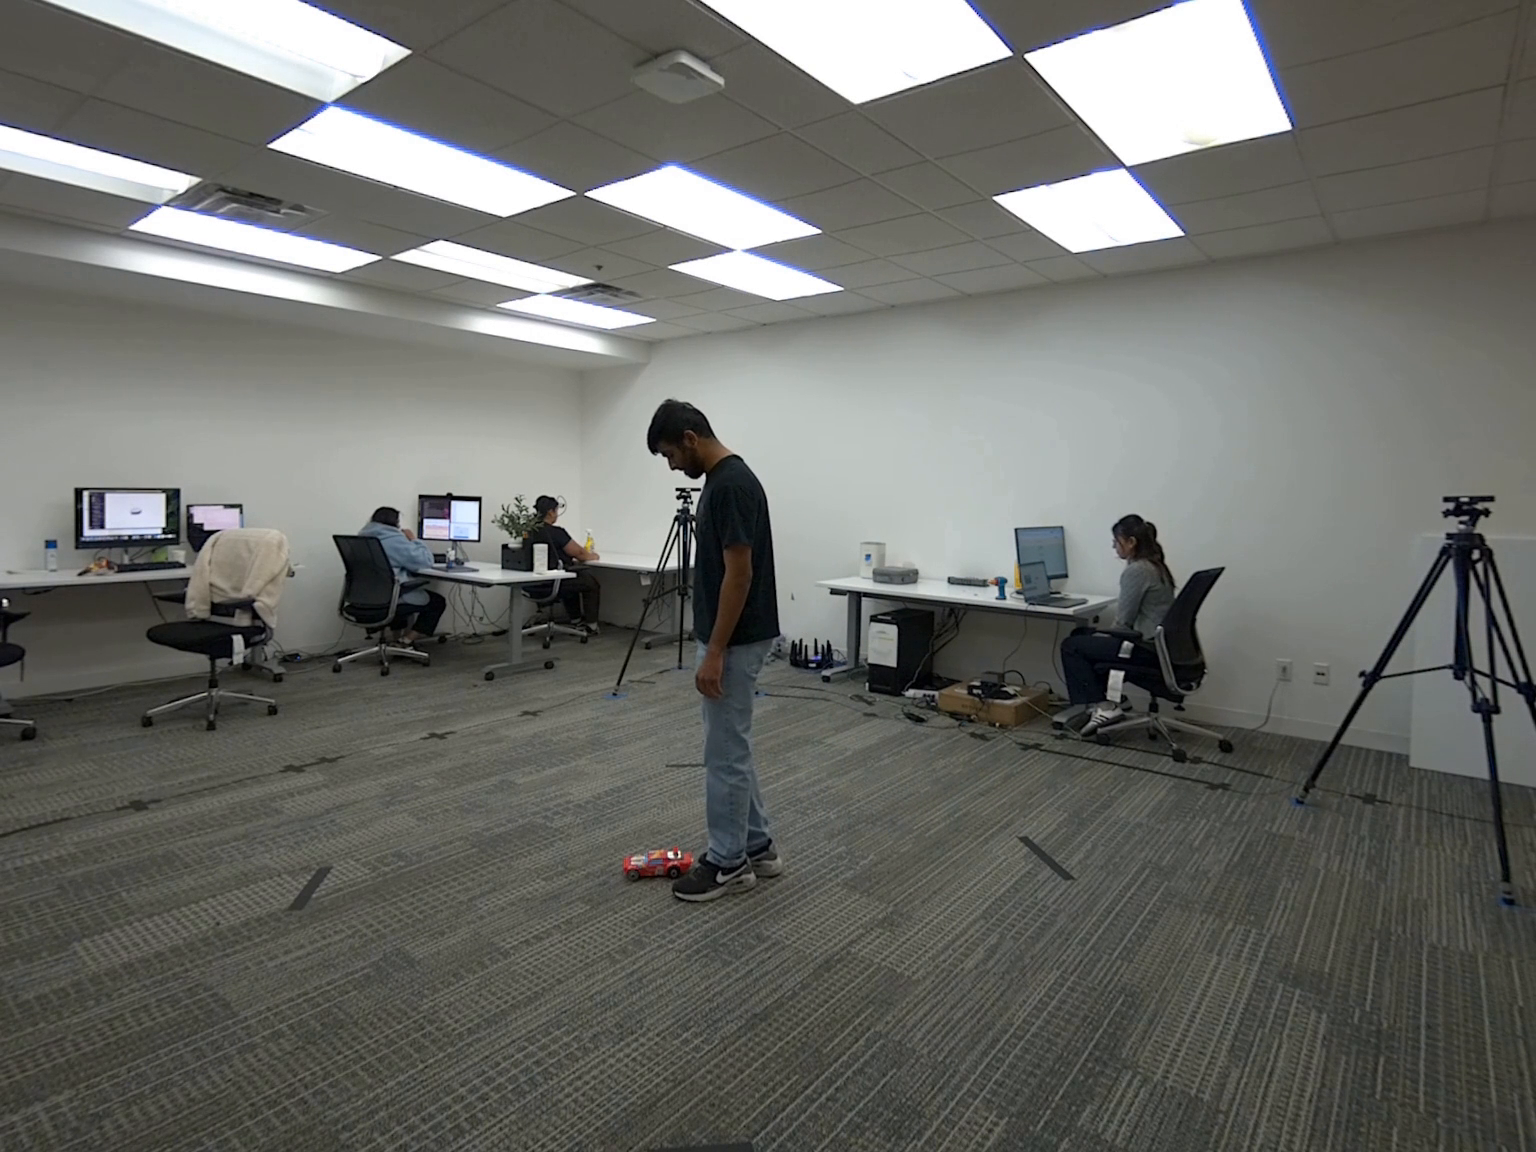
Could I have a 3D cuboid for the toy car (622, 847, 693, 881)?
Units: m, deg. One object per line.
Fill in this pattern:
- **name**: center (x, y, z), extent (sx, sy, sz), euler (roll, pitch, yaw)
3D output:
- **toy car**: center (-0.403, 1.040, 3.074), extent (0.253, 0.083, 0.132), euler (-12, 5, -8)
